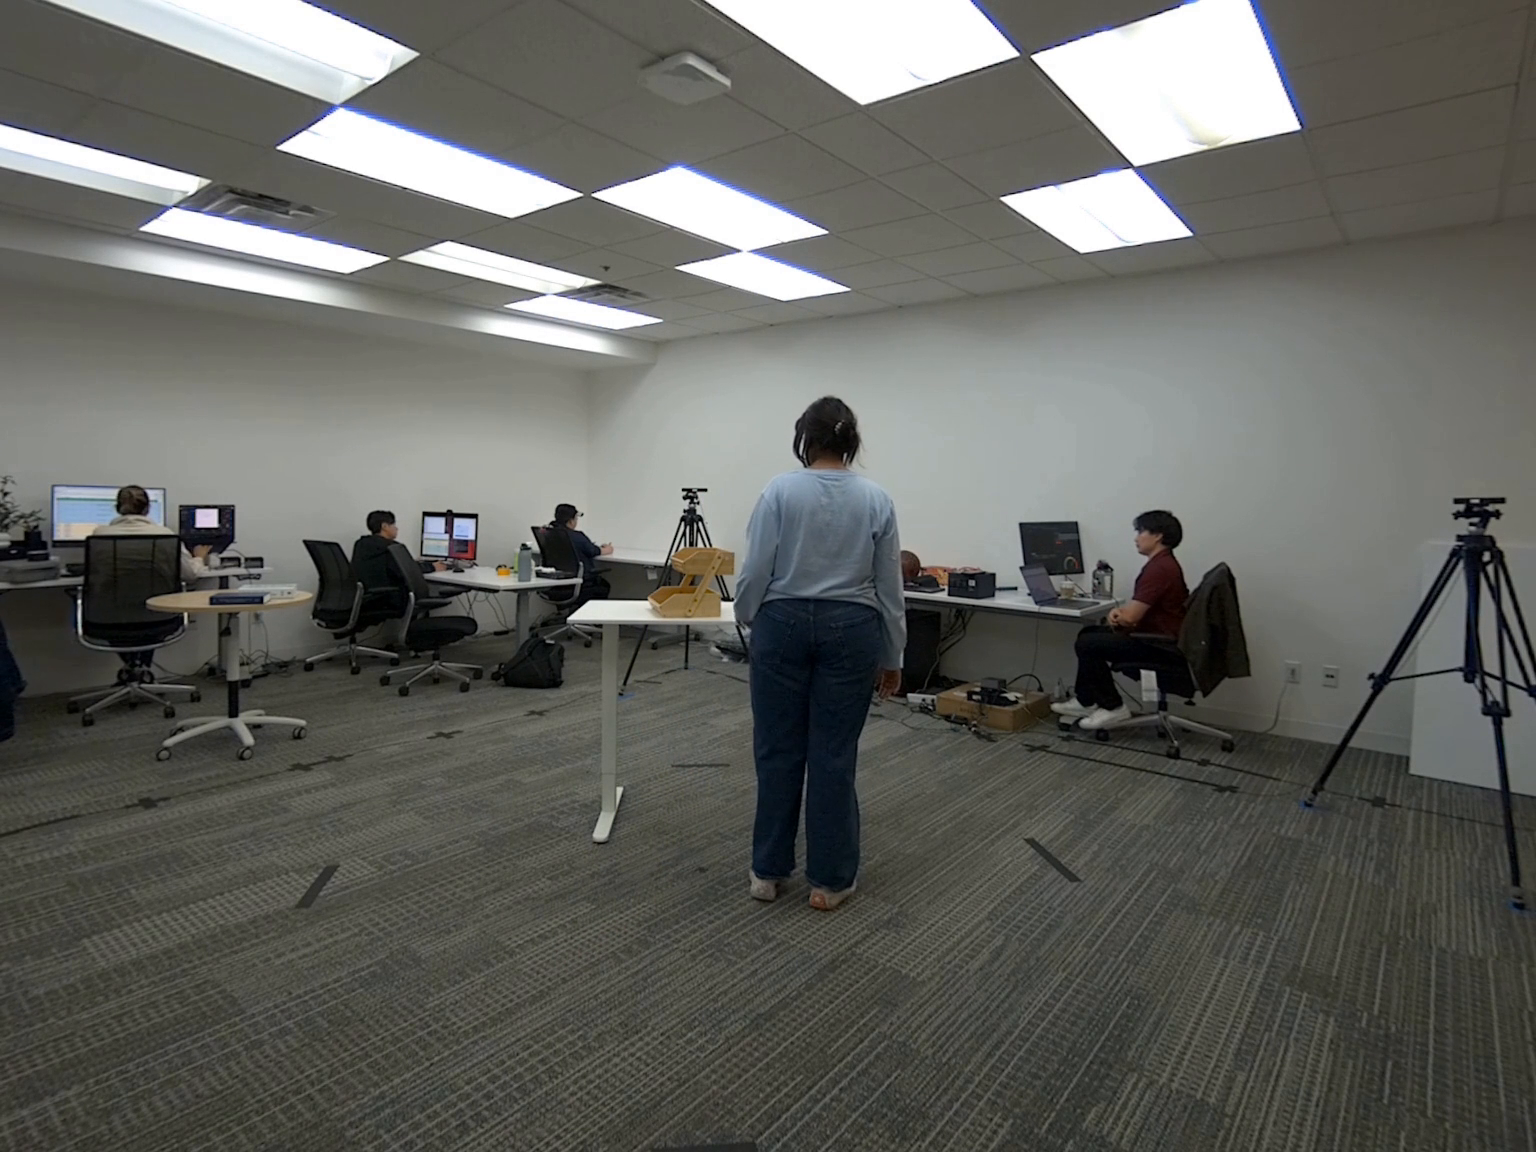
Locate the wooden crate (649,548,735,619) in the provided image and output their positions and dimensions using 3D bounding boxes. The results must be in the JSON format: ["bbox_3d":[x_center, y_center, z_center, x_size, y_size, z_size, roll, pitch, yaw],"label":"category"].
[{"bbox_3d":[-0.336,0.013,3.504,0.297,0.272,0.330,1,4,-15],"label":"wooden crate"}]
